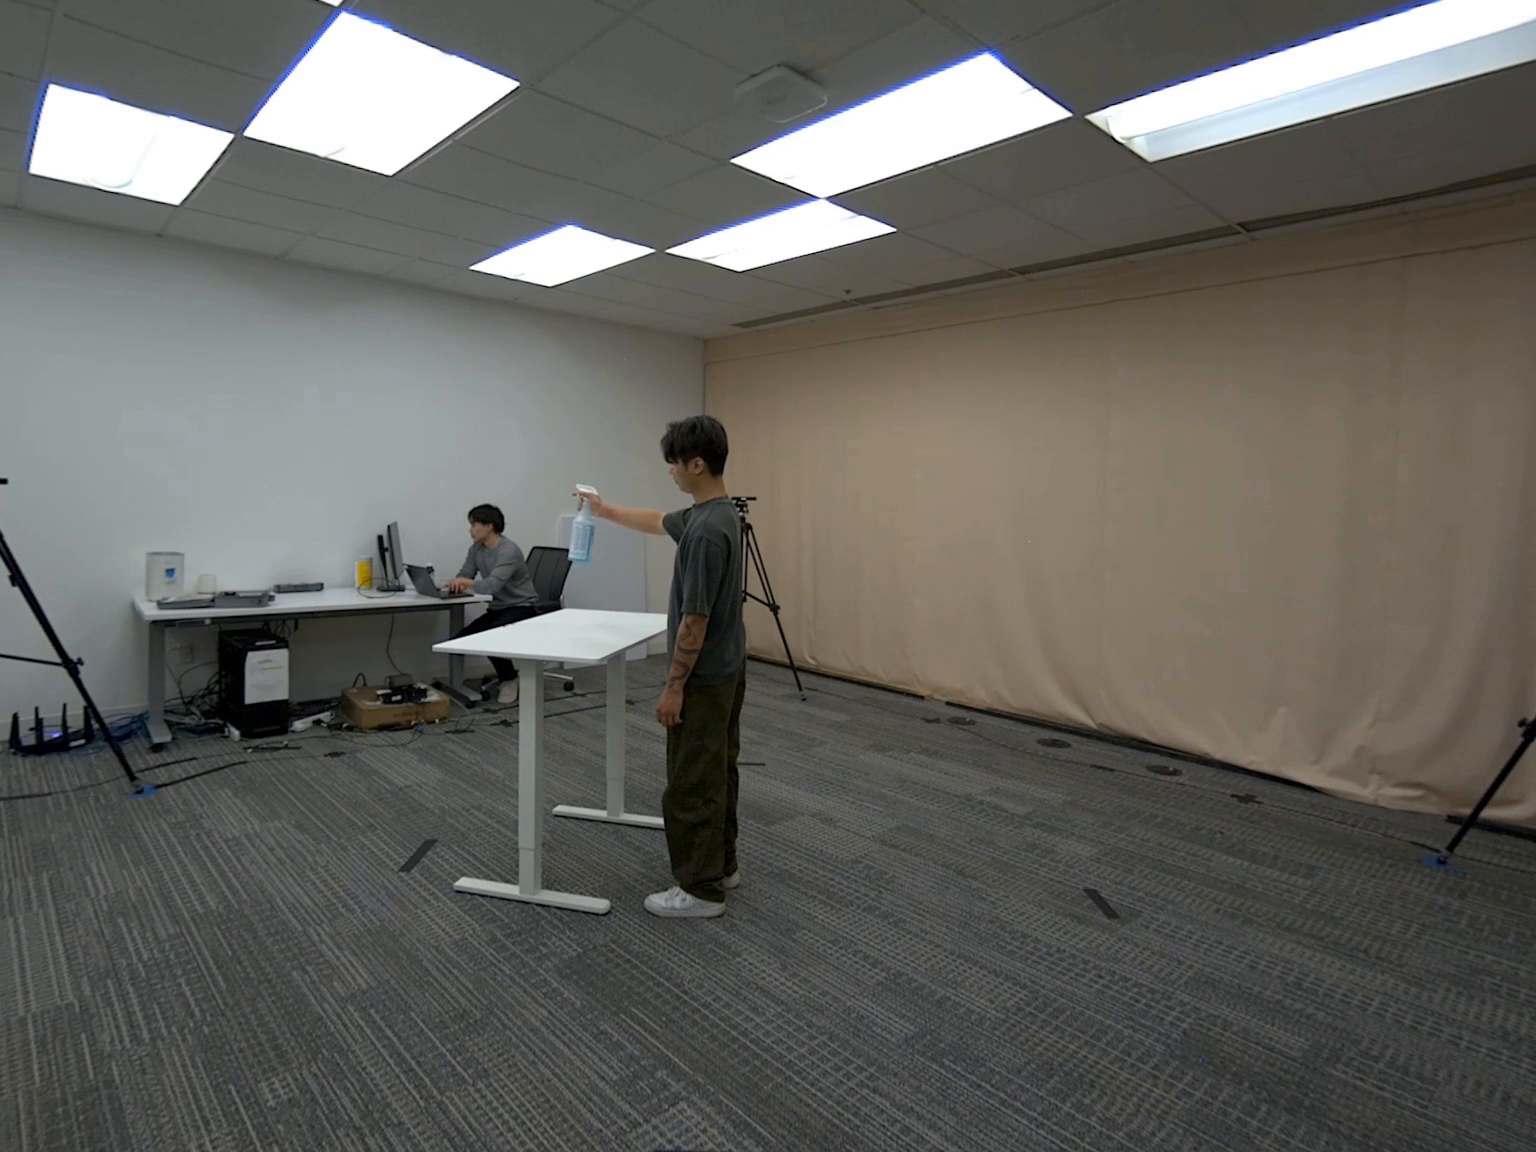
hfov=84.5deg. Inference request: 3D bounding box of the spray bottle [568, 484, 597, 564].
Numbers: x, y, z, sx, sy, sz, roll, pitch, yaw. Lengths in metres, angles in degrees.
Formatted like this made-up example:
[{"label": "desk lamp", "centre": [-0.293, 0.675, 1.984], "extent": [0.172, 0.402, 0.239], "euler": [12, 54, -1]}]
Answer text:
[{"label": "spray bottle", "centre": [-0.724, -0.200, 3.271], "extent": [0.092, 0.296, 0.085], "euler": [12, 6, 31]}]
